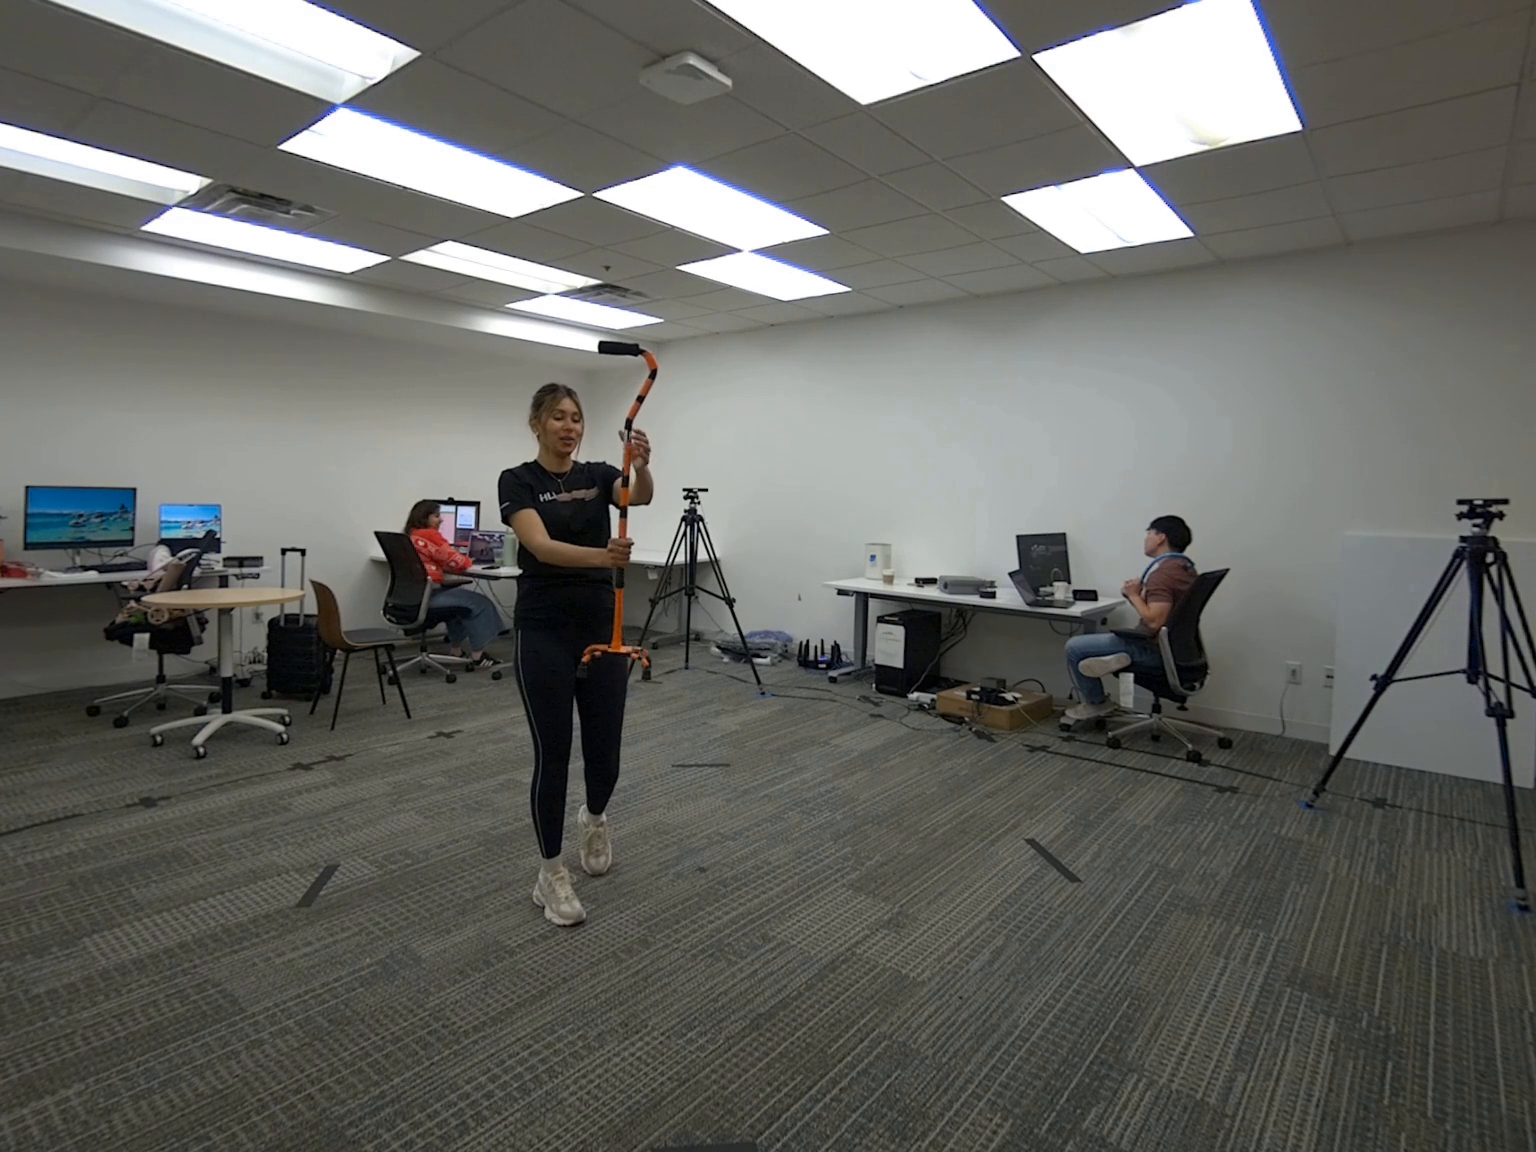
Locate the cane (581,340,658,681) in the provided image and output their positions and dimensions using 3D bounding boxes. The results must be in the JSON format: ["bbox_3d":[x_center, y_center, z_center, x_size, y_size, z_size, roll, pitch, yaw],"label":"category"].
[{"bbox_3d":[-0.393,-0.188,2.351,0.205,0.904,0.153,2,5,-6],"label":"cane"}]
